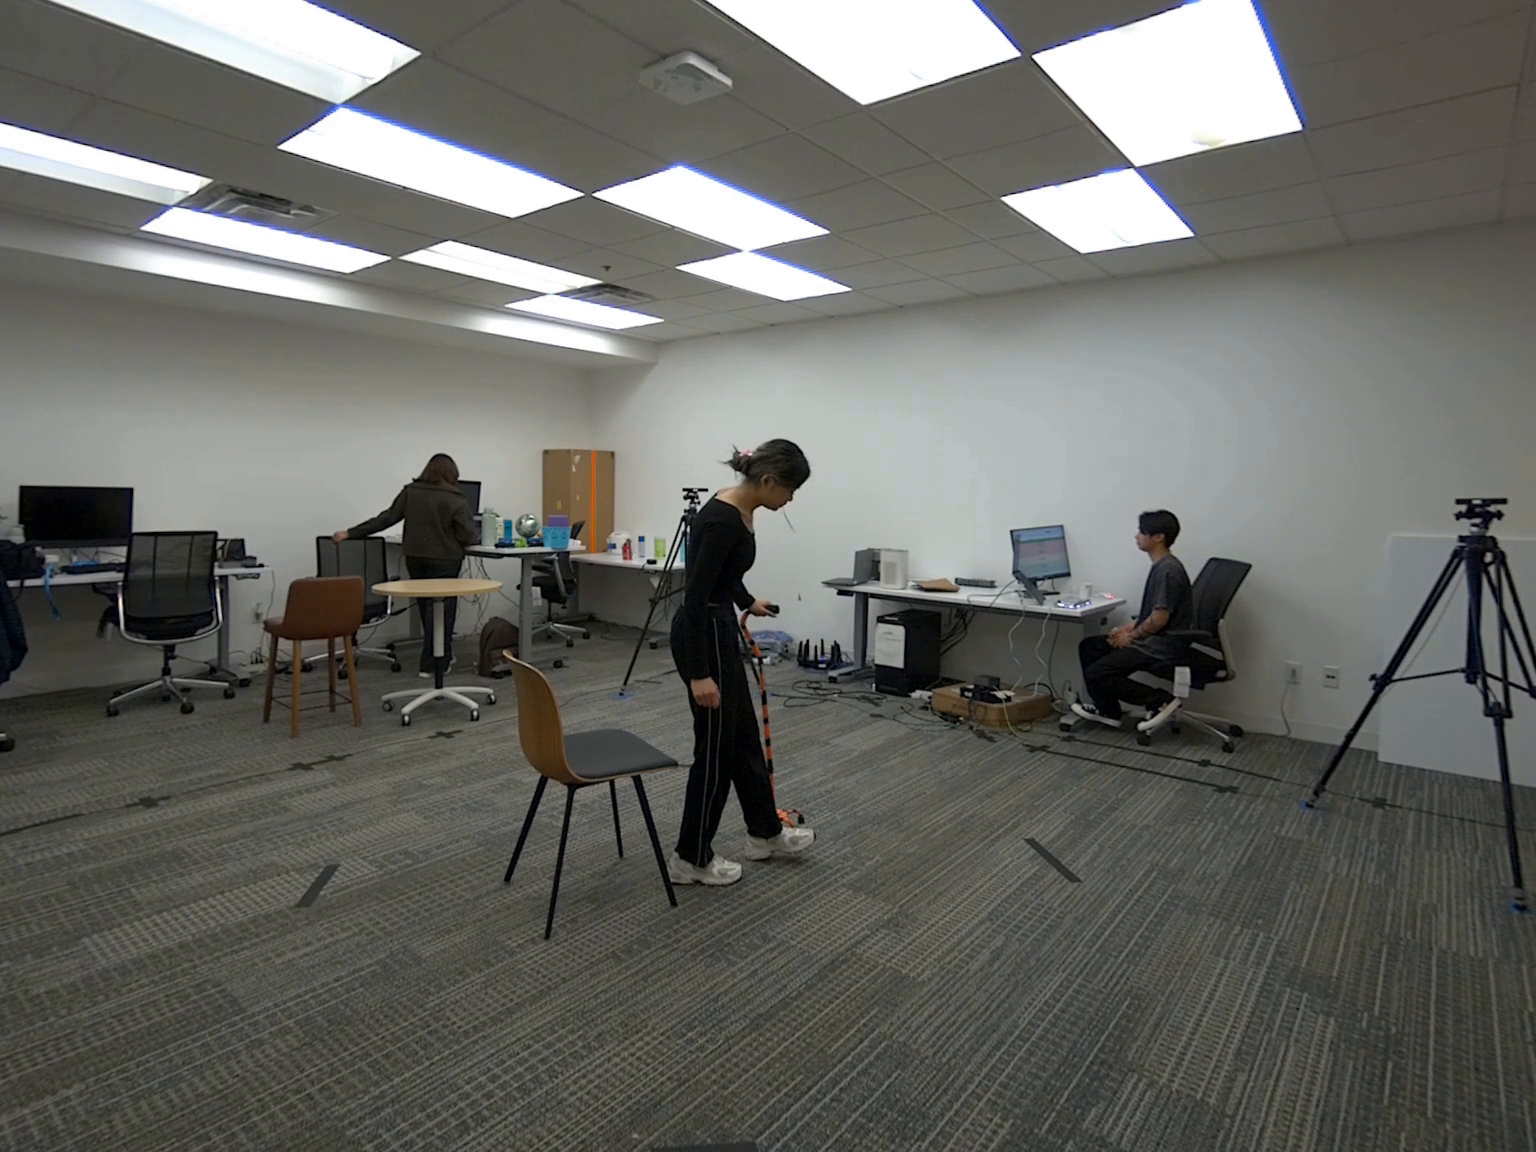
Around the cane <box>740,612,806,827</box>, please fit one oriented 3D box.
[{"bbox_3d":[-0.028,0.568,3.437,0.210,0.905,0.149,-5,3,17],"label":"cane"}]
